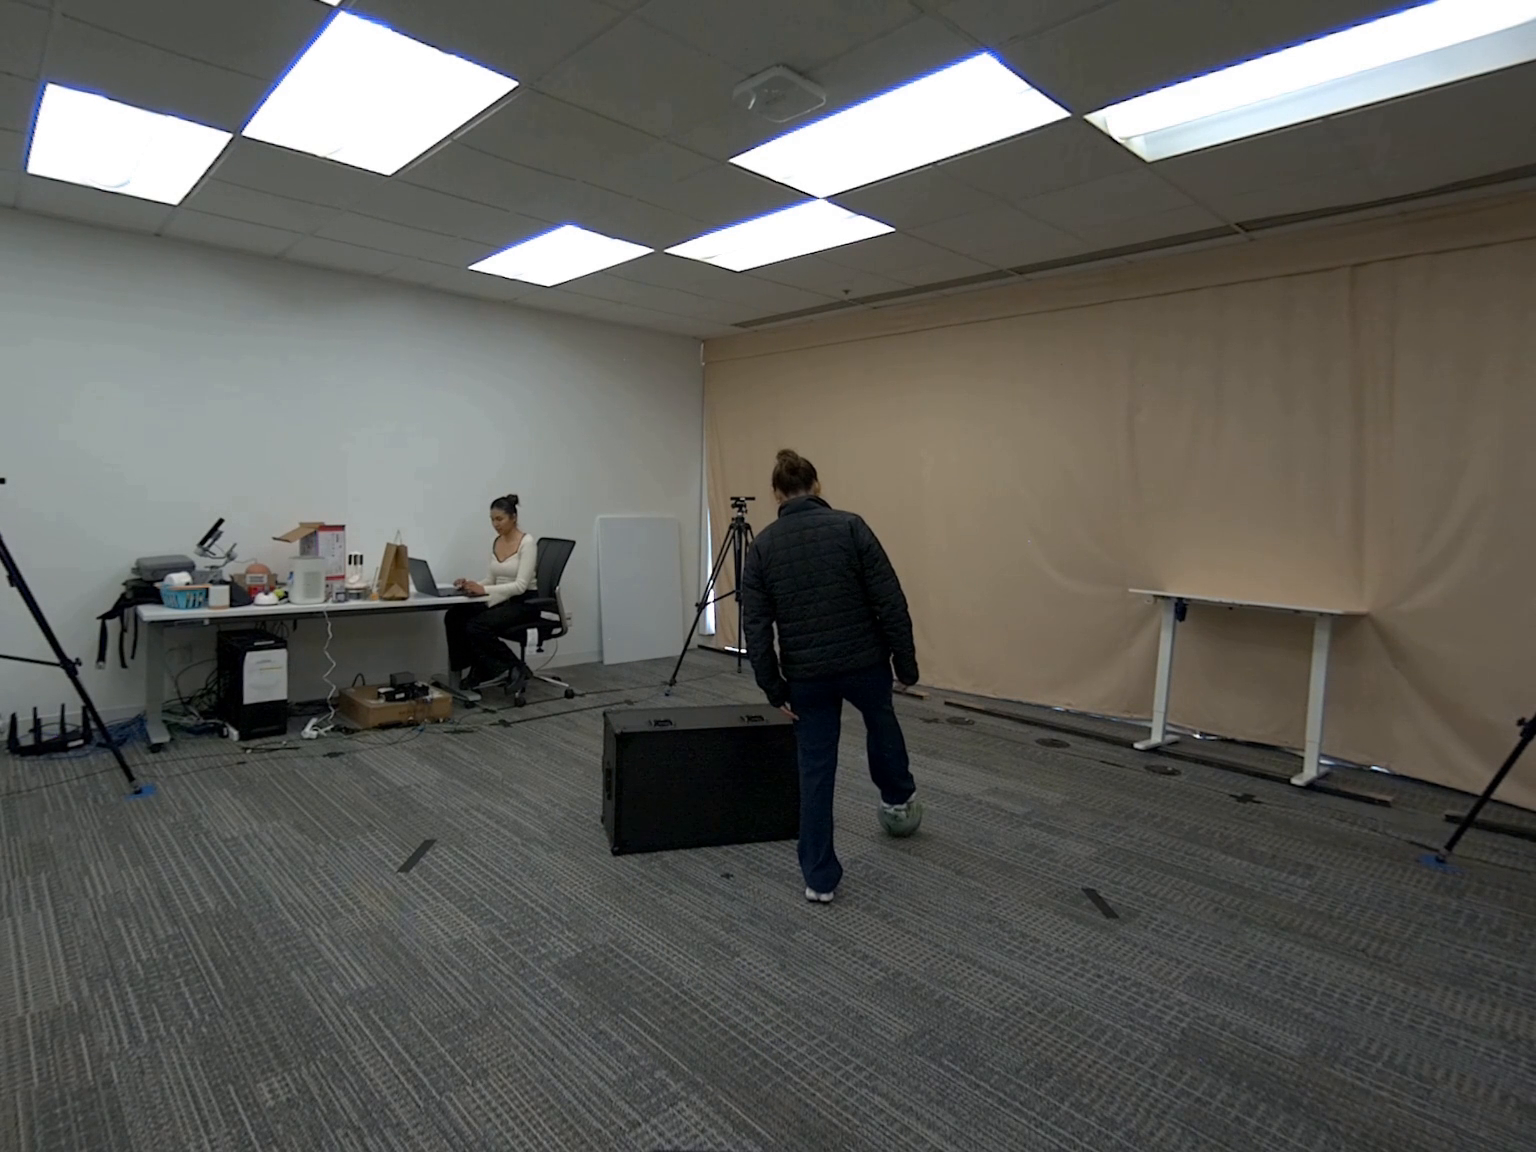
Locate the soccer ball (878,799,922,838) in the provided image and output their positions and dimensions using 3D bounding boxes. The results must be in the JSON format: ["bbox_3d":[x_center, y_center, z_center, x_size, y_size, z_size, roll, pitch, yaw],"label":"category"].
[{"bbox_3d":[0.536,0.992,3.534,0.187,0.187,0.188,1,4,-1],"label":"soccer ball"}]
